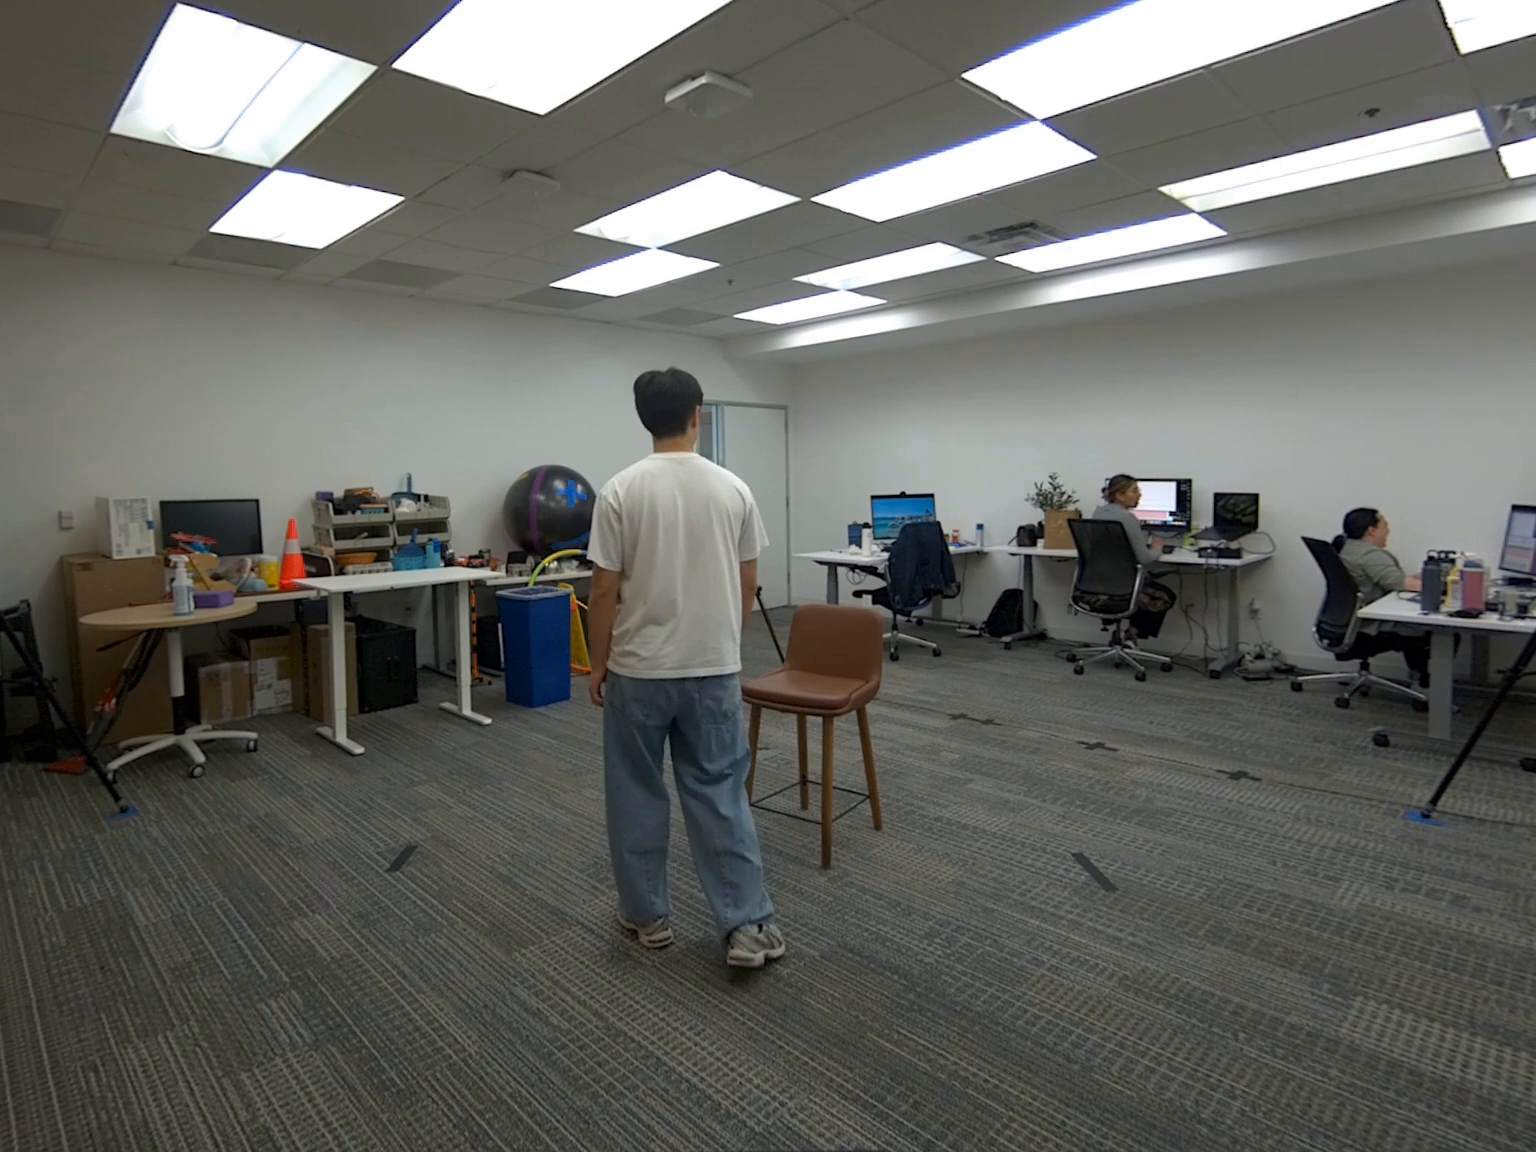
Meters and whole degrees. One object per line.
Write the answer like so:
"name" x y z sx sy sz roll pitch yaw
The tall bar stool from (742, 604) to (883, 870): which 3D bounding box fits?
"tall bar stool" 0.179 0.580 3.316 0.470 0.888 0.455 2 3 37
